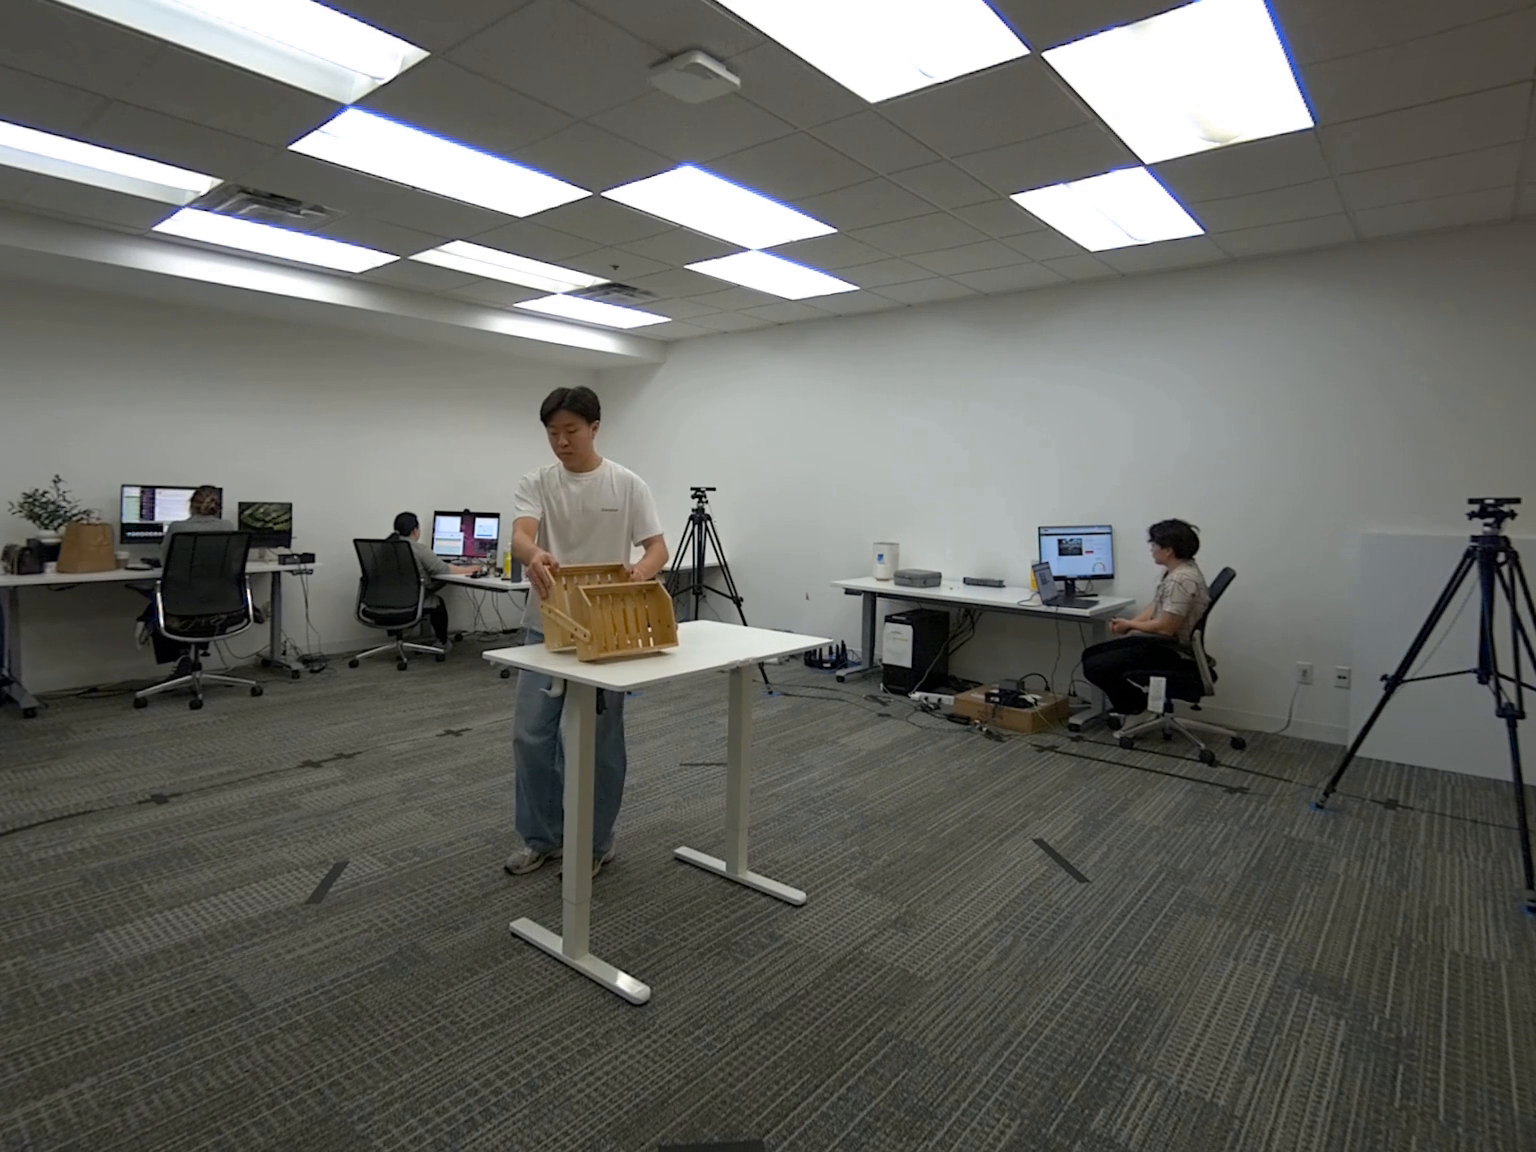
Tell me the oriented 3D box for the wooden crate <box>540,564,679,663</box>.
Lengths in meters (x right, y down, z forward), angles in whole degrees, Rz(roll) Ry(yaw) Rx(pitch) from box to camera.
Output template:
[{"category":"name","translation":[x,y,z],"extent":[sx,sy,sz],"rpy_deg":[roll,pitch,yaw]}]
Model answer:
[{"category":"wooden crate","translation":[-0.504,0.085,2.580],"extent":[0.315,0.305,0.279],"rpy_deg":[-3,-9,-43]}]
